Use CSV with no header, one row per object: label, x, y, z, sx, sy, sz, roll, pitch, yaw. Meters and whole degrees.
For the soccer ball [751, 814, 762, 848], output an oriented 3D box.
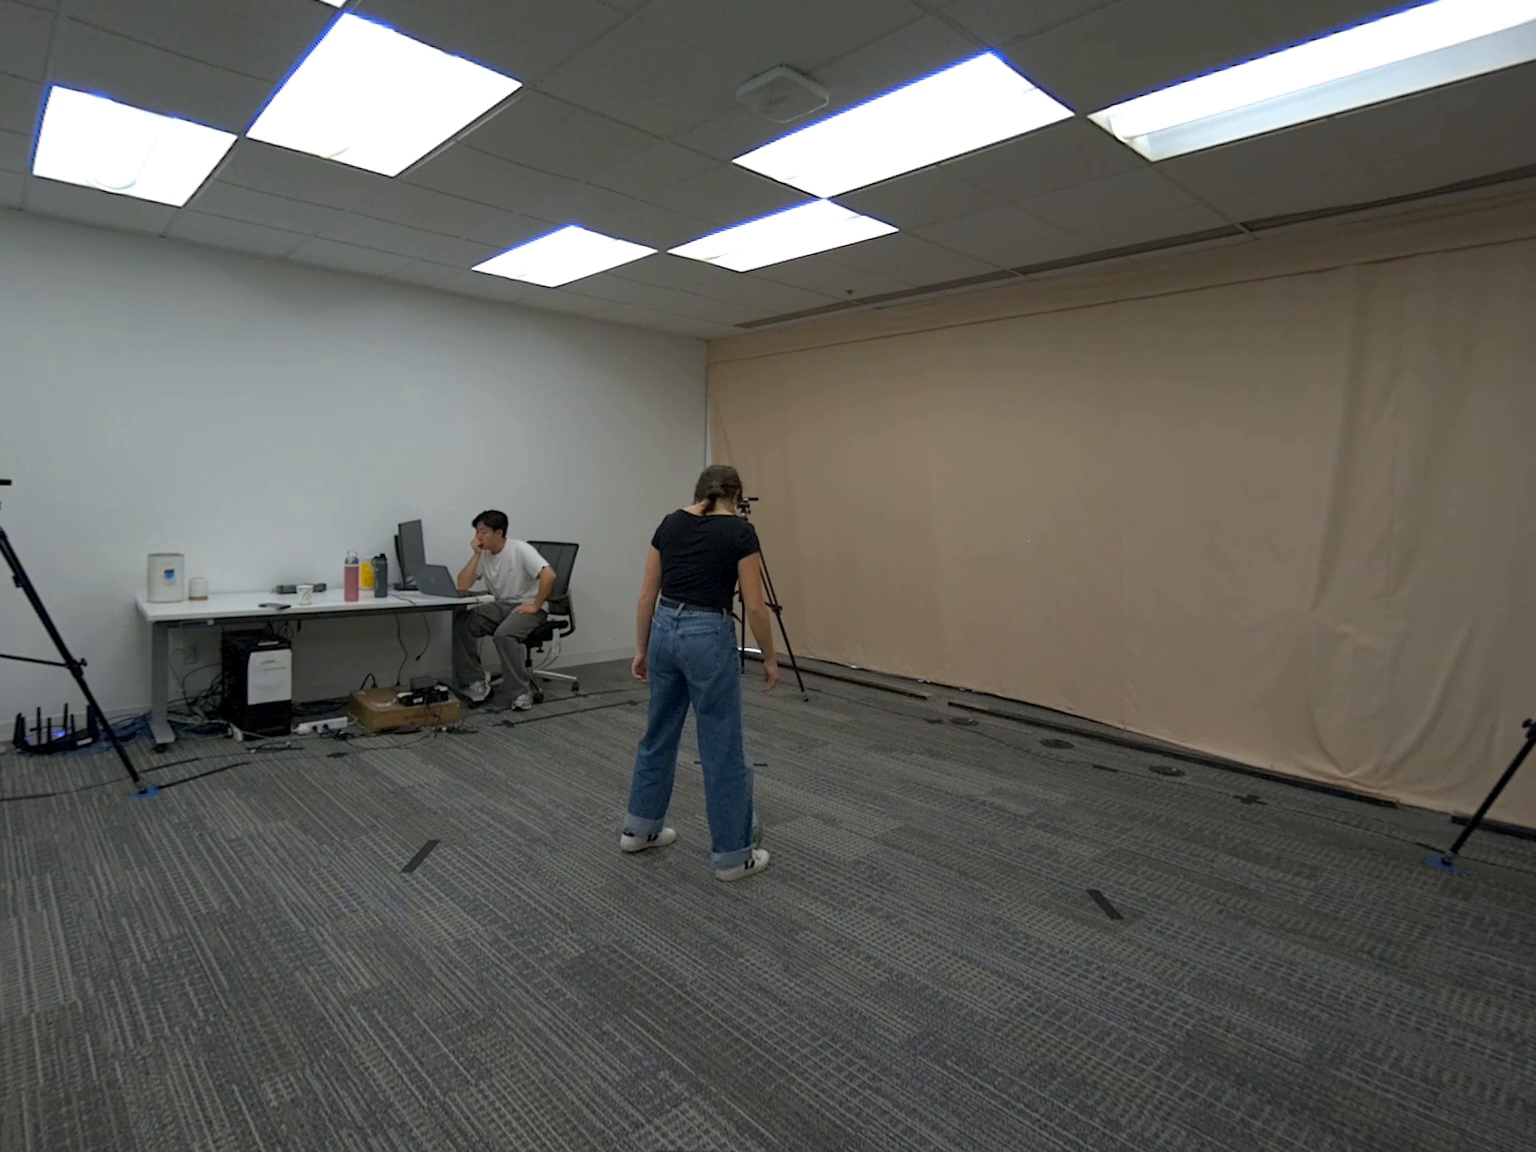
soccer ball,-0.112,1.011,3.285,0.187,0.187,0.188,1,4,-1
